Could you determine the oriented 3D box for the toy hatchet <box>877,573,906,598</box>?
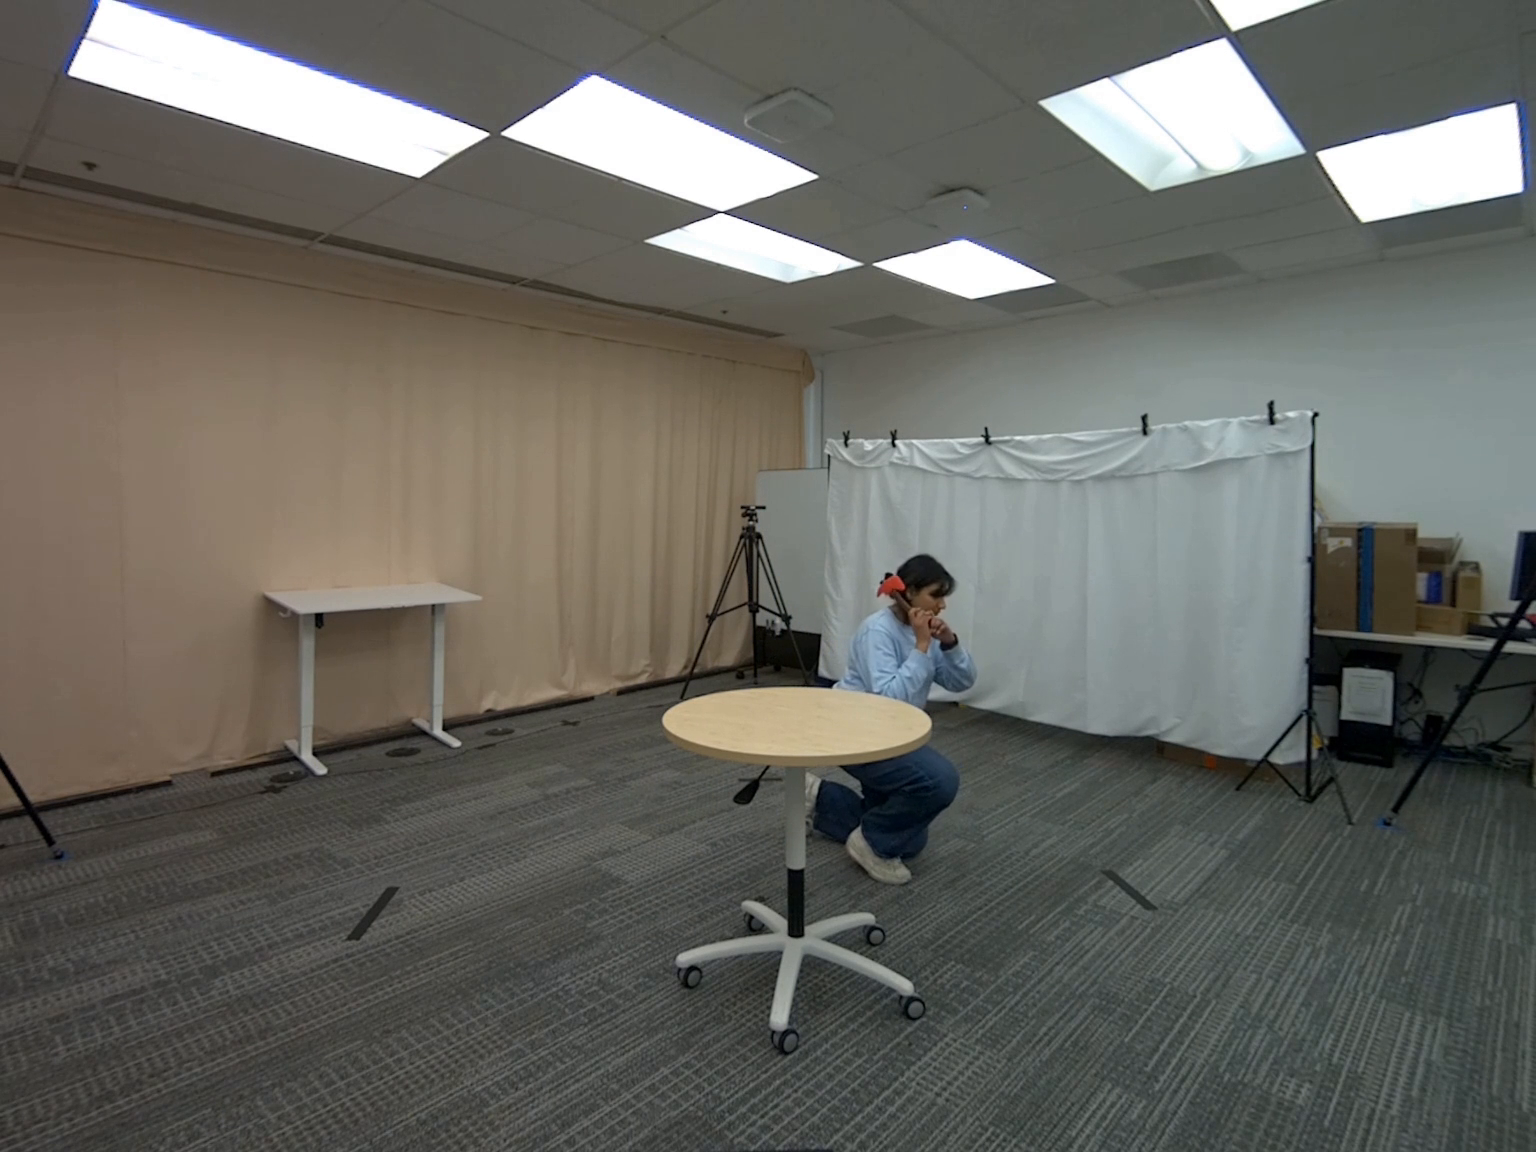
[{"bbox_3d":[0.548,0.103,3.081,0.277,0.130,0.029,32,38,23],"label":"toy hatchet"}]
